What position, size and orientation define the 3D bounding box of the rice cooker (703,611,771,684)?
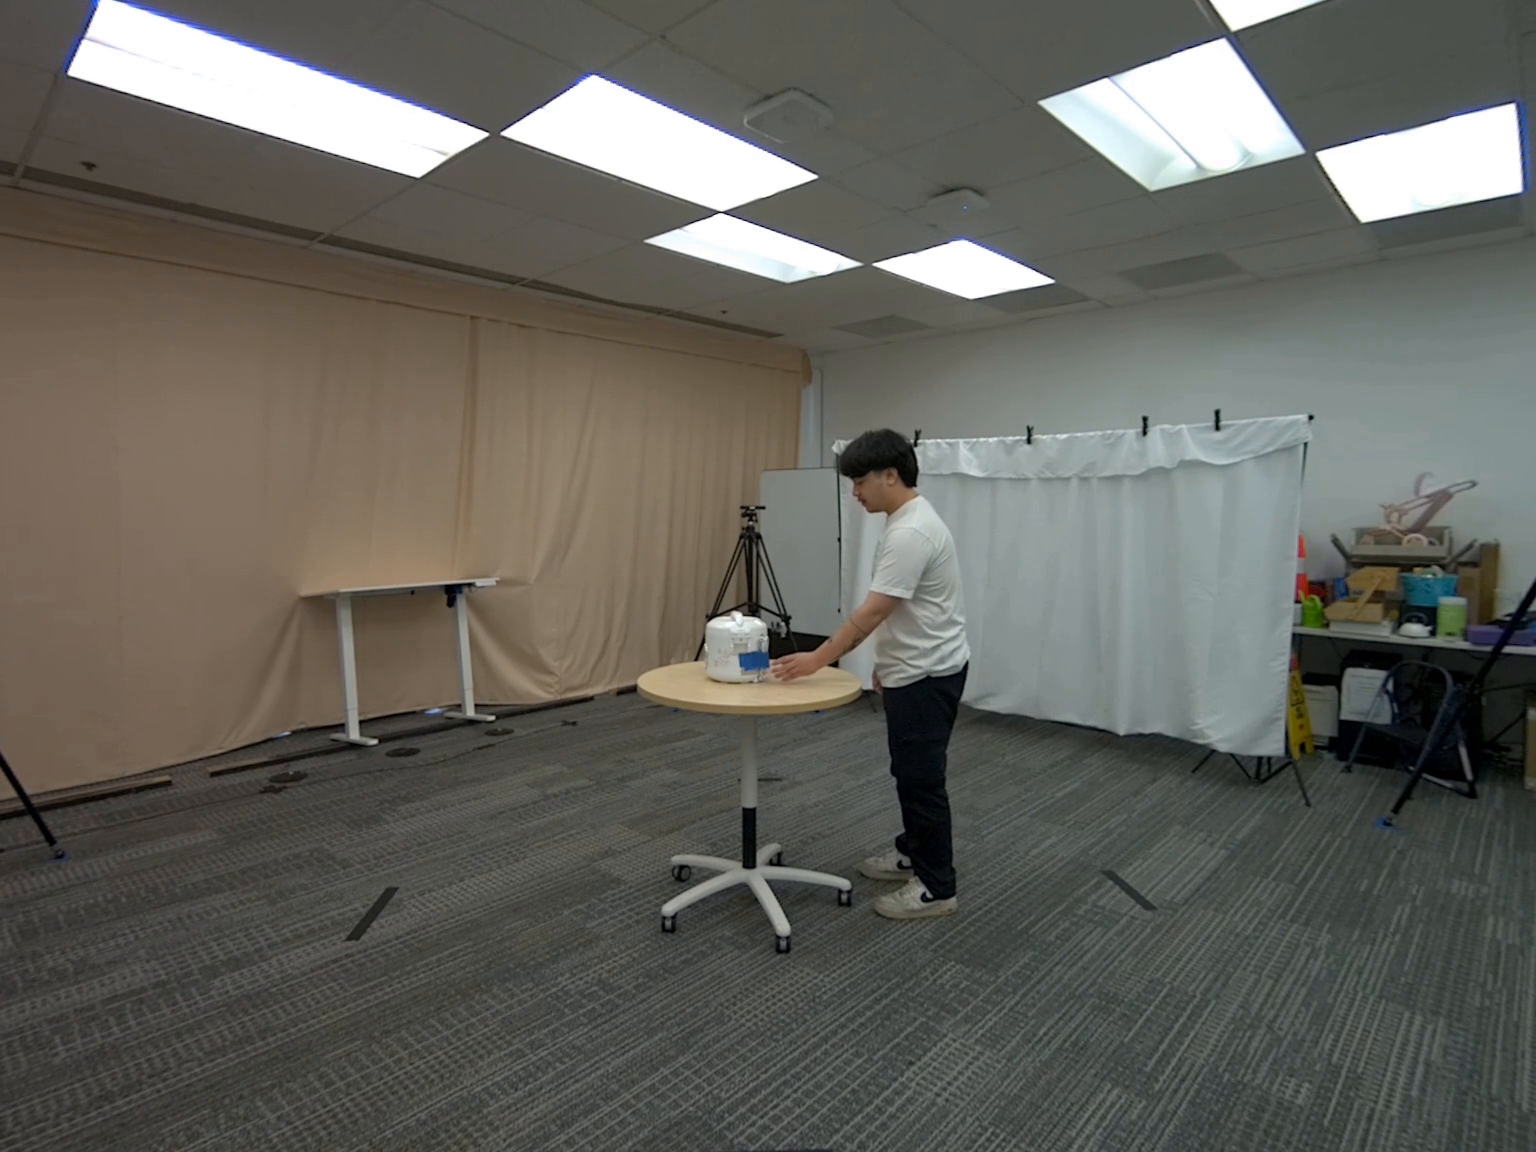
[{"bbox_3d":[-0.108,0.238,2.896,0.216,0.232,0.223,-1,3,-8],"label":"rice cooker"}]
